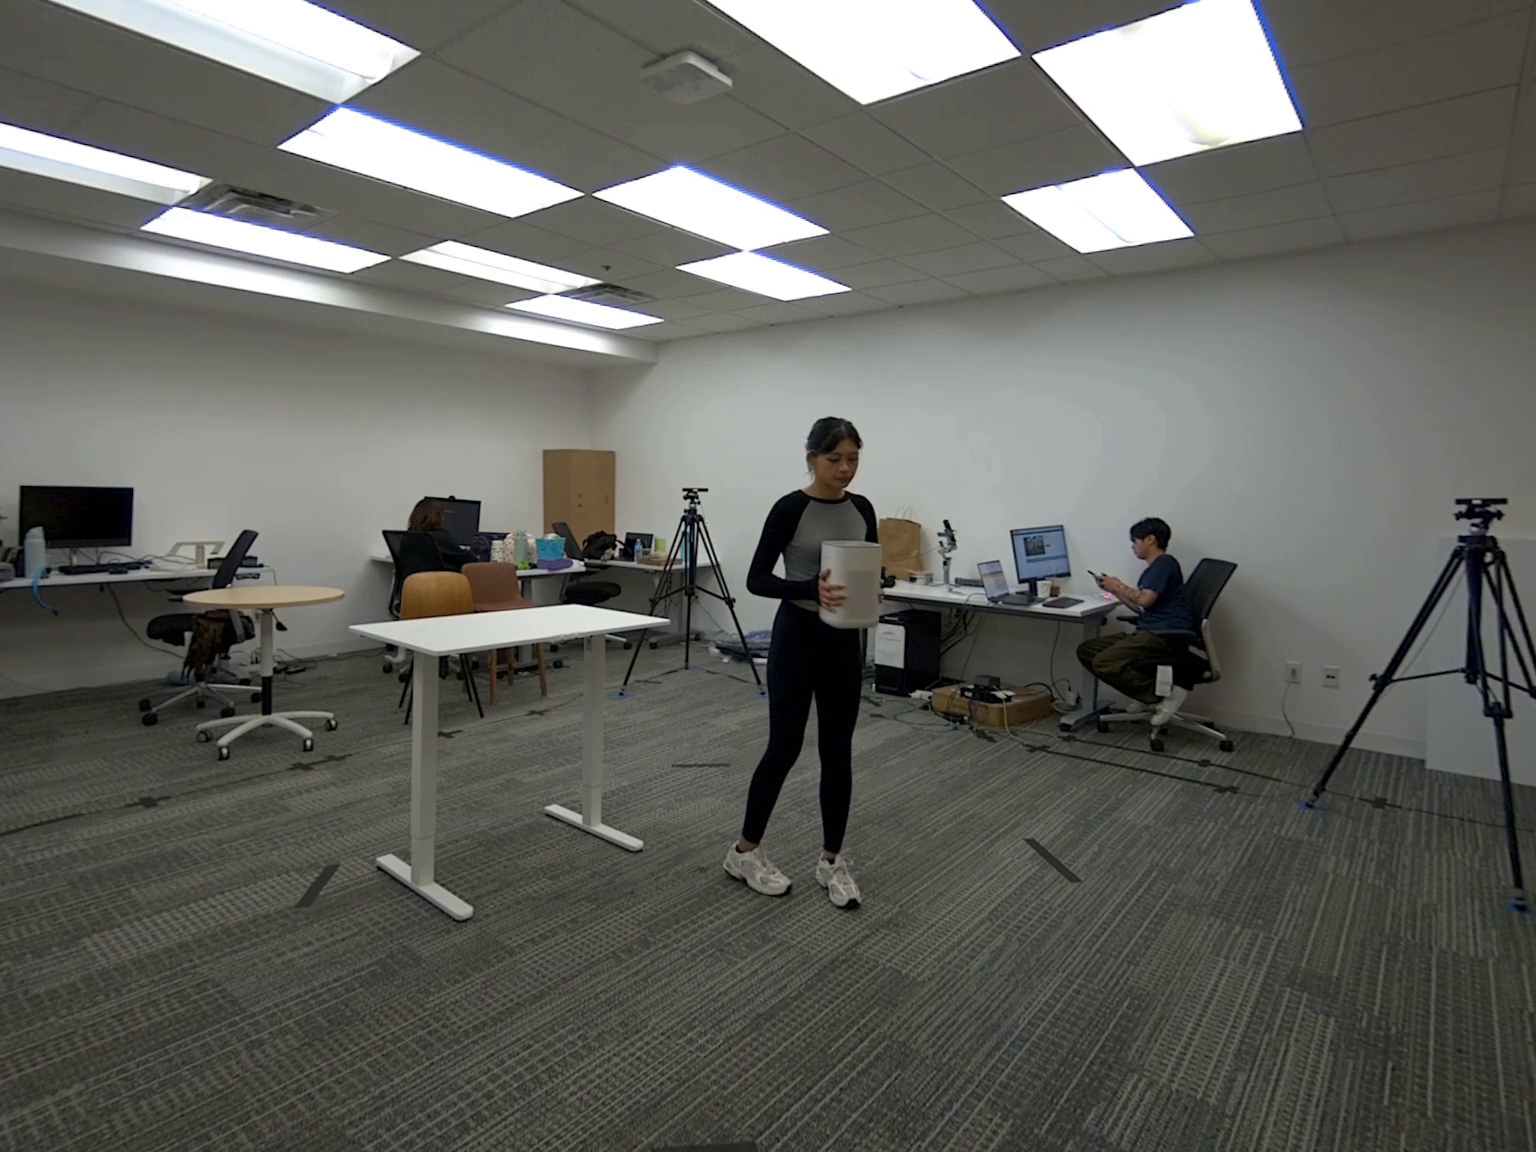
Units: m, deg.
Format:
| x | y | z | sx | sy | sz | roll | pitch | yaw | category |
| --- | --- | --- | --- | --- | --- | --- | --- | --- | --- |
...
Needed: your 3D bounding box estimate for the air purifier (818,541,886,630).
| x | y | z | sx | sy | sz | roll | pitch | yaw | category |
| --- | --- | --- | --- | --- | --- | --- | --- | --- | --- |
| 0.258 | 0.024 | 2.732 | 0.169 | 0.264 | 0.175 | 0 | 6 | -15 | air purifier |
